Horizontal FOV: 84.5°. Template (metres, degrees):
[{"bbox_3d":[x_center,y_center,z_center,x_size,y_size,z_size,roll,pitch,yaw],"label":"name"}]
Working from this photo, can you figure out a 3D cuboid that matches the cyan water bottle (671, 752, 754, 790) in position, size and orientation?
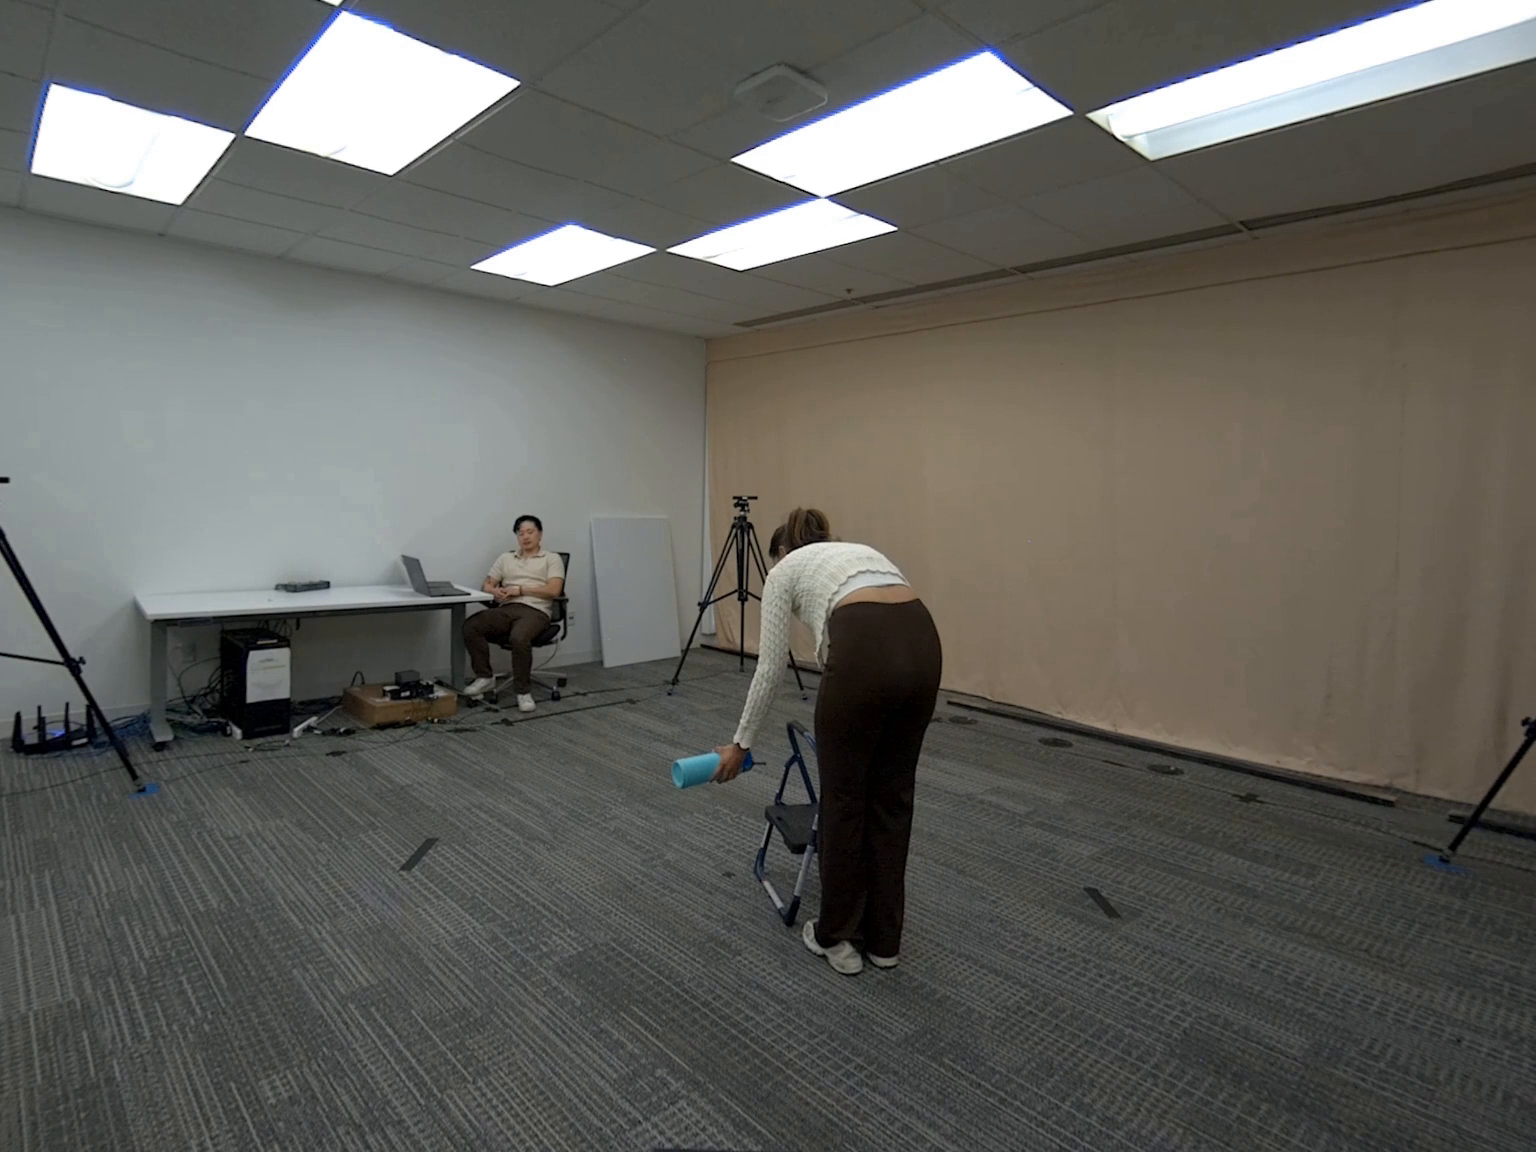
[{"bbox_3d":[-0.177,0.622,2.754,0.278,0.092,0.094,-5,7,-27],"label":"cyan water bottle"}]
